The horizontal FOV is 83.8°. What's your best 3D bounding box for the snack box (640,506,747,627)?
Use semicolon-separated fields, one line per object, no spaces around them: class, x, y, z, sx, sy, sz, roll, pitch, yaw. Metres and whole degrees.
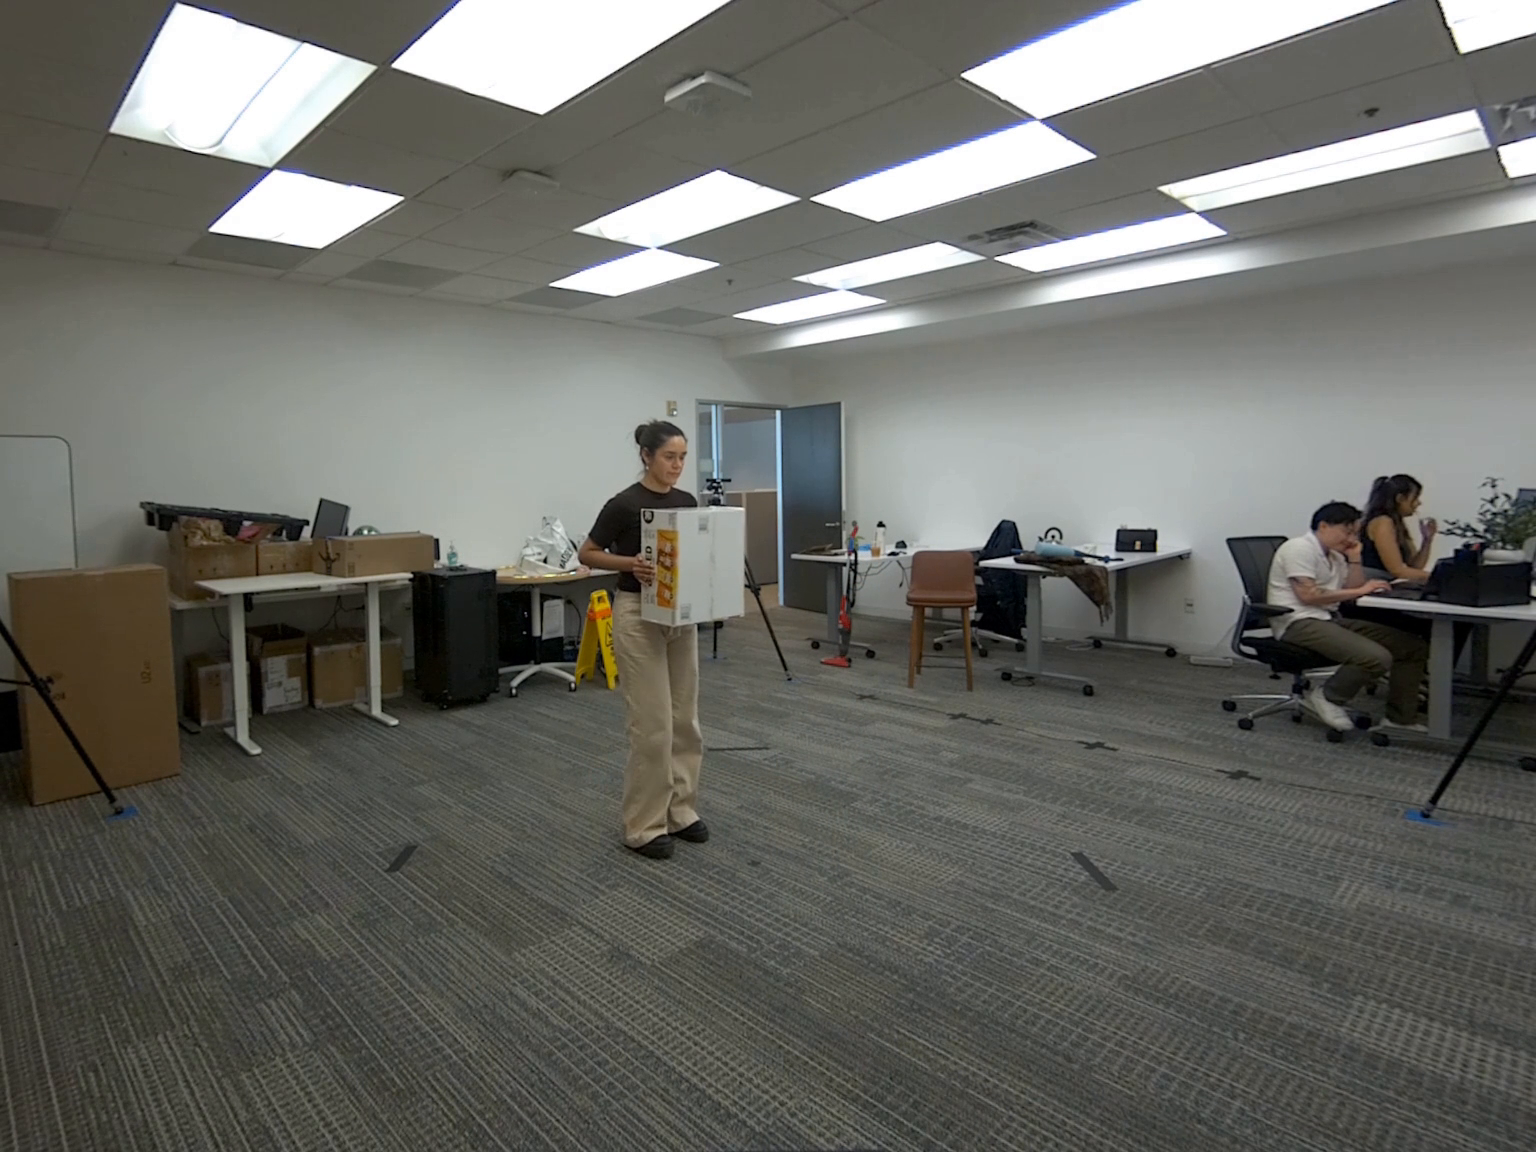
snack box;-0.274;-0.044;3.158;0.331;0.403;0.212;-6;8;-44
